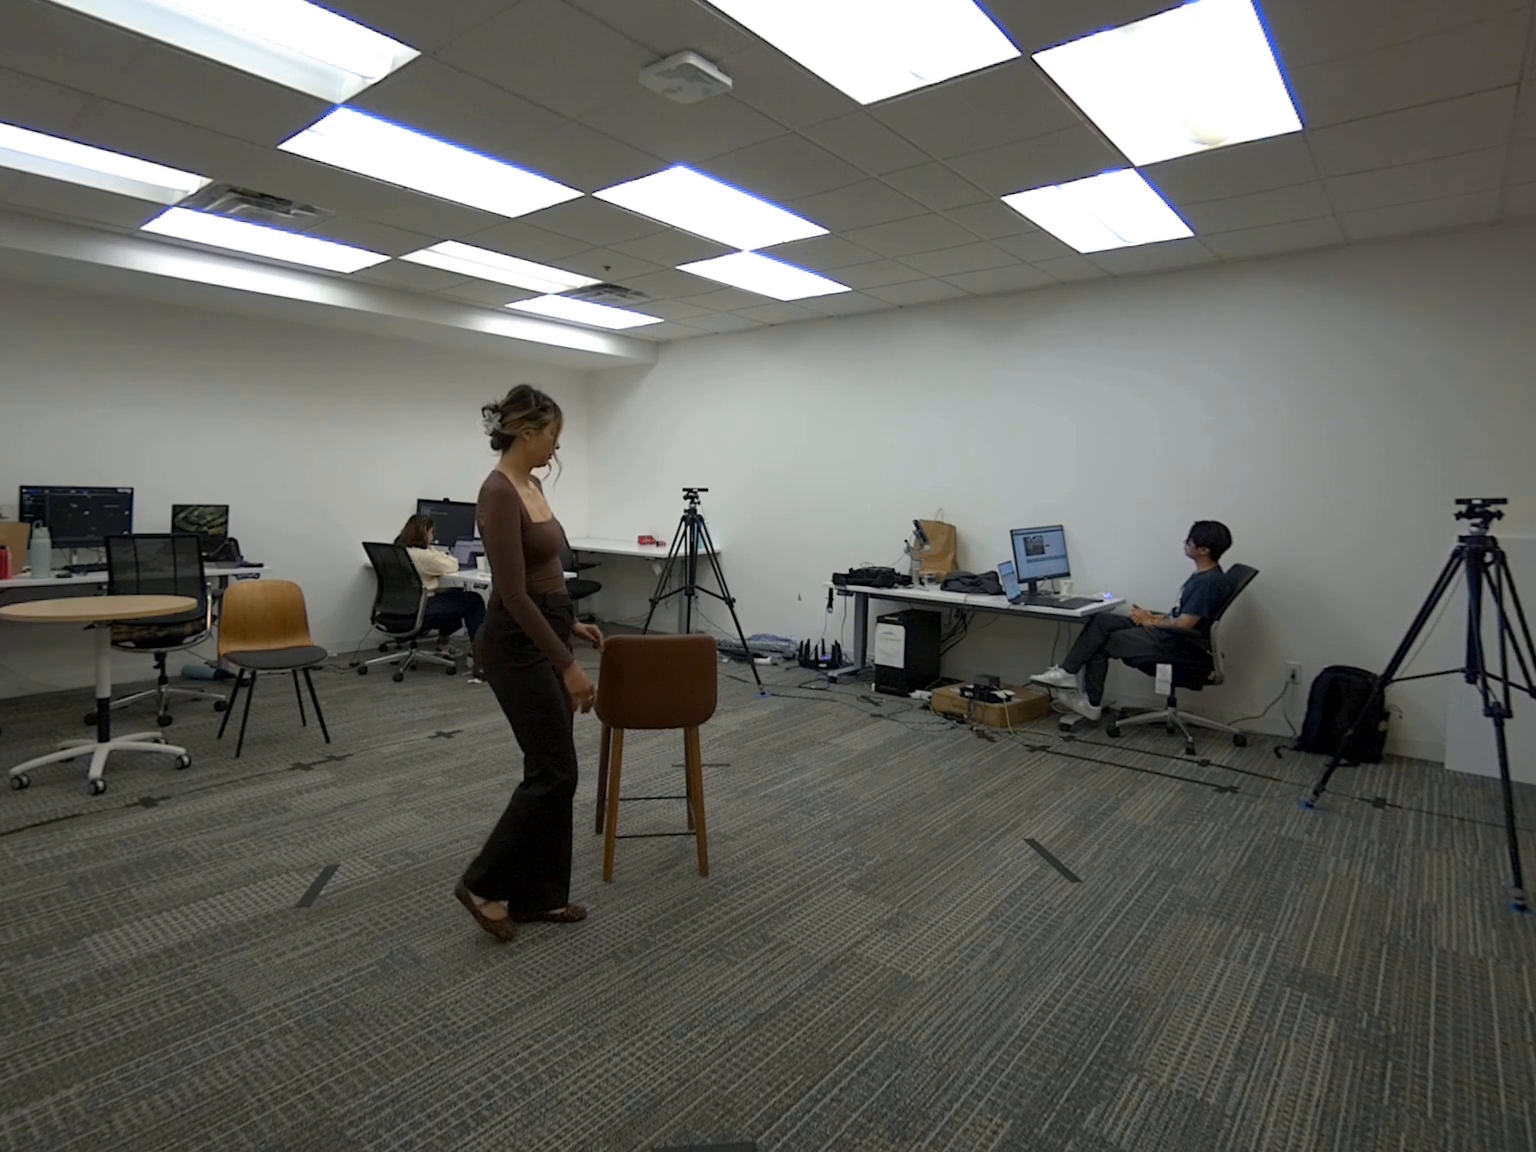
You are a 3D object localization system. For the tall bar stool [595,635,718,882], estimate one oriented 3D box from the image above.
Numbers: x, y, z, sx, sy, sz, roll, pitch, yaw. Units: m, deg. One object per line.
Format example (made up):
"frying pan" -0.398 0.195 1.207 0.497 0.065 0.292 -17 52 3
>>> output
"tall bar stool" -0.448 0.621 3.219 0.451 0.886 0.476 0 5 -13
